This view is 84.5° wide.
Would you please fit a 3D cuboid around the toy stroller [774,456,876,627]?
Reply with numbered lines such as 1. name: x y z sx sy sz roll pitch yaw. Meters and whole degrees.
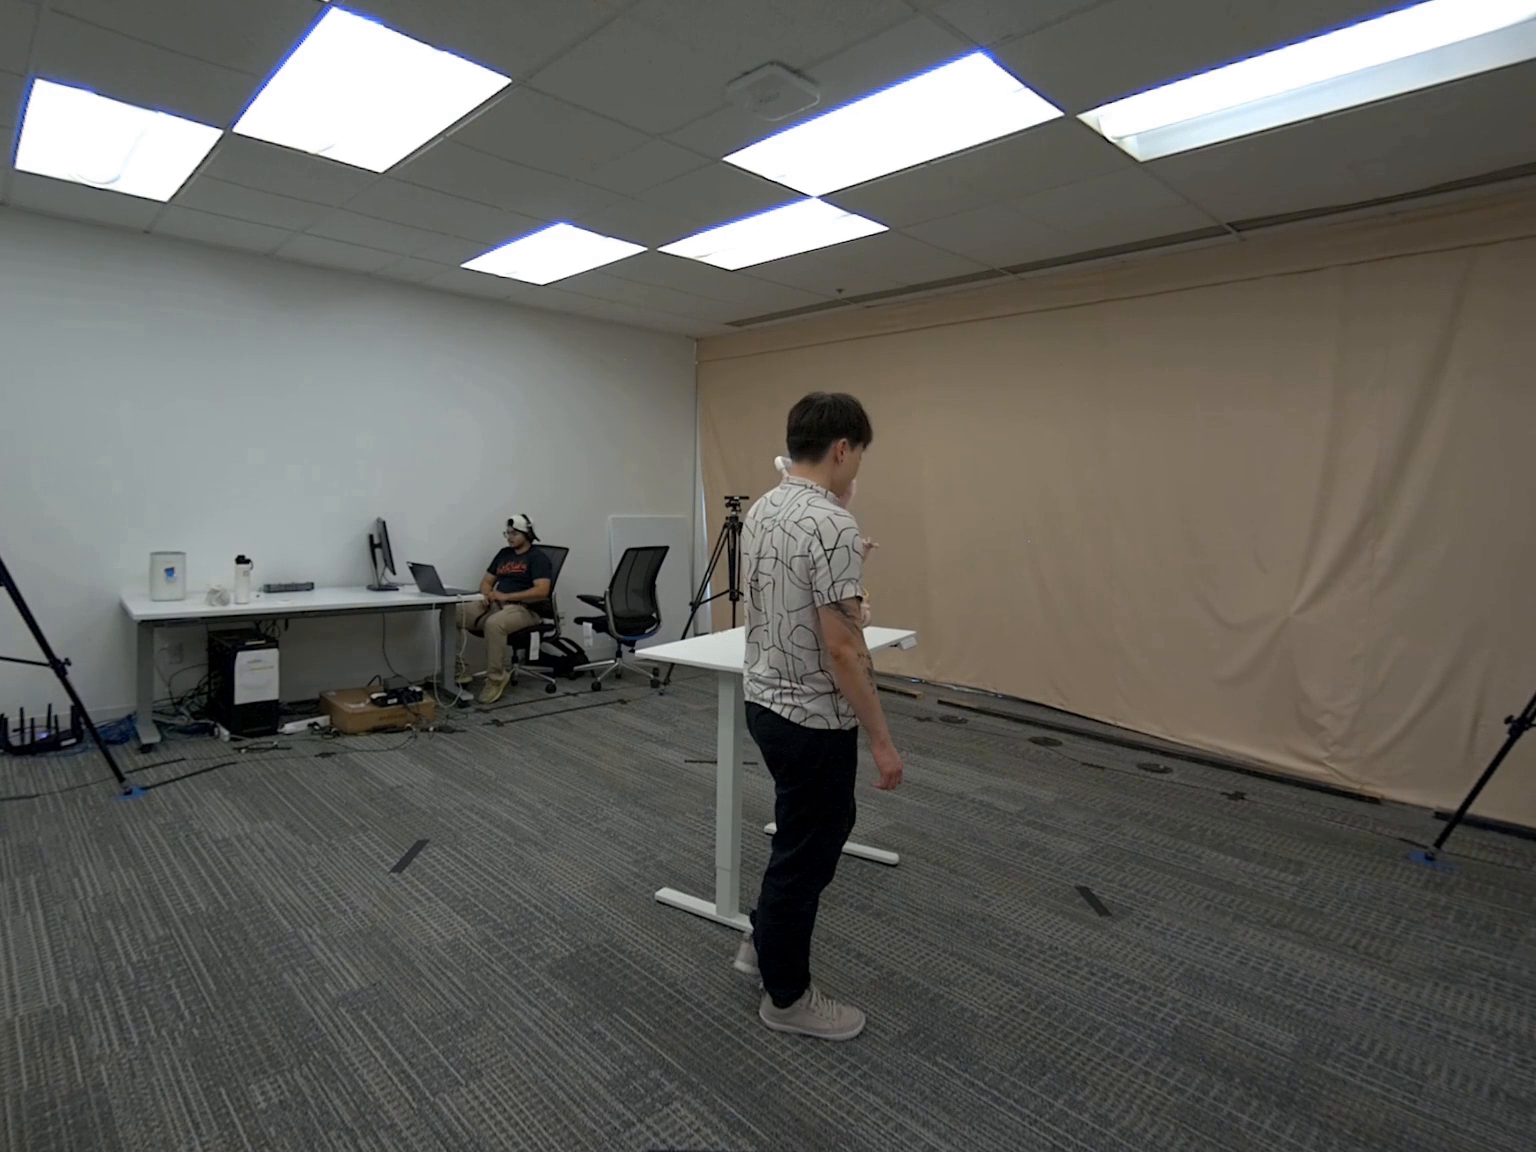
1. toy stroller: 0.185 -0.107 2.653 0.349 0.536 0.274 2 -4 37
